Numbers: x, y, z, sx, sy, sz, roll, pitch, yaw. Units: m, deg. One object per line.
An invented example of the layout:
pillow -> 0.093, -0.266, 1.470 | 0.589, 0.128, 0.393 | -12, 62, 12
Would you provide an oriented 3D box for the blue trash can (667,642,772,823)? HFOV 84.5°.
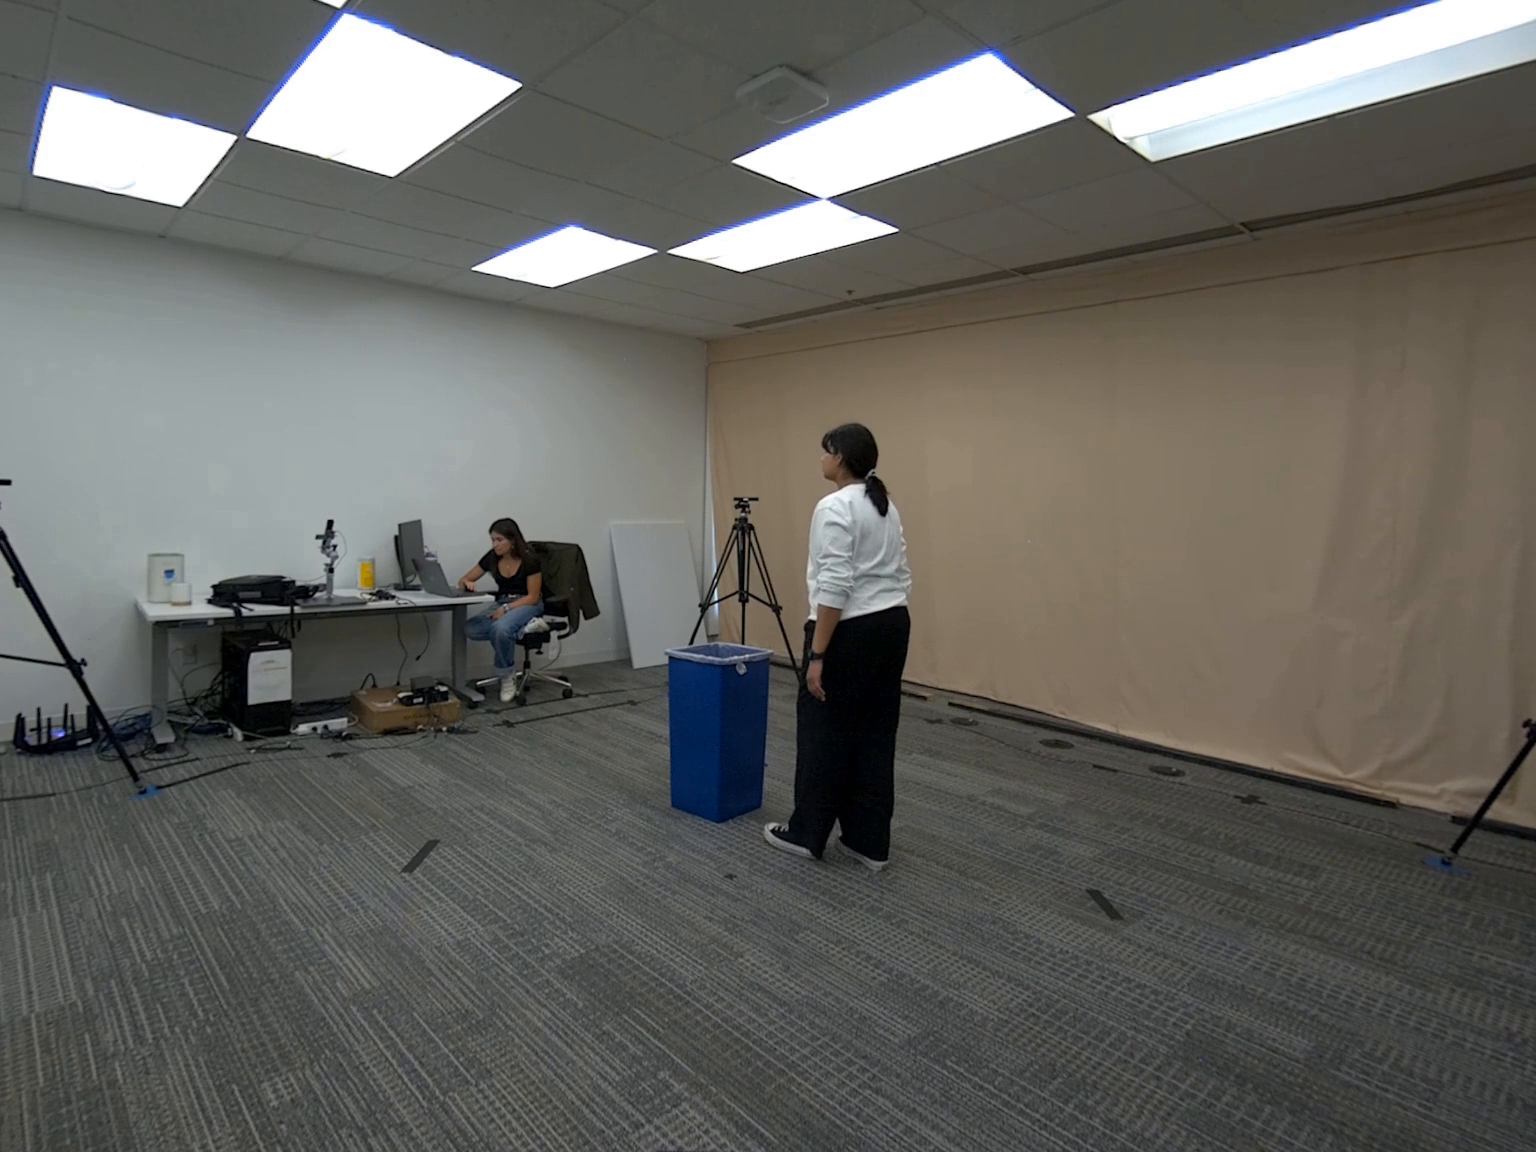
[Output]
blue trash can -> -0.241, 0.689, 3.807 | 0.383, 0.712, 0.369 | 4, 4, 40
